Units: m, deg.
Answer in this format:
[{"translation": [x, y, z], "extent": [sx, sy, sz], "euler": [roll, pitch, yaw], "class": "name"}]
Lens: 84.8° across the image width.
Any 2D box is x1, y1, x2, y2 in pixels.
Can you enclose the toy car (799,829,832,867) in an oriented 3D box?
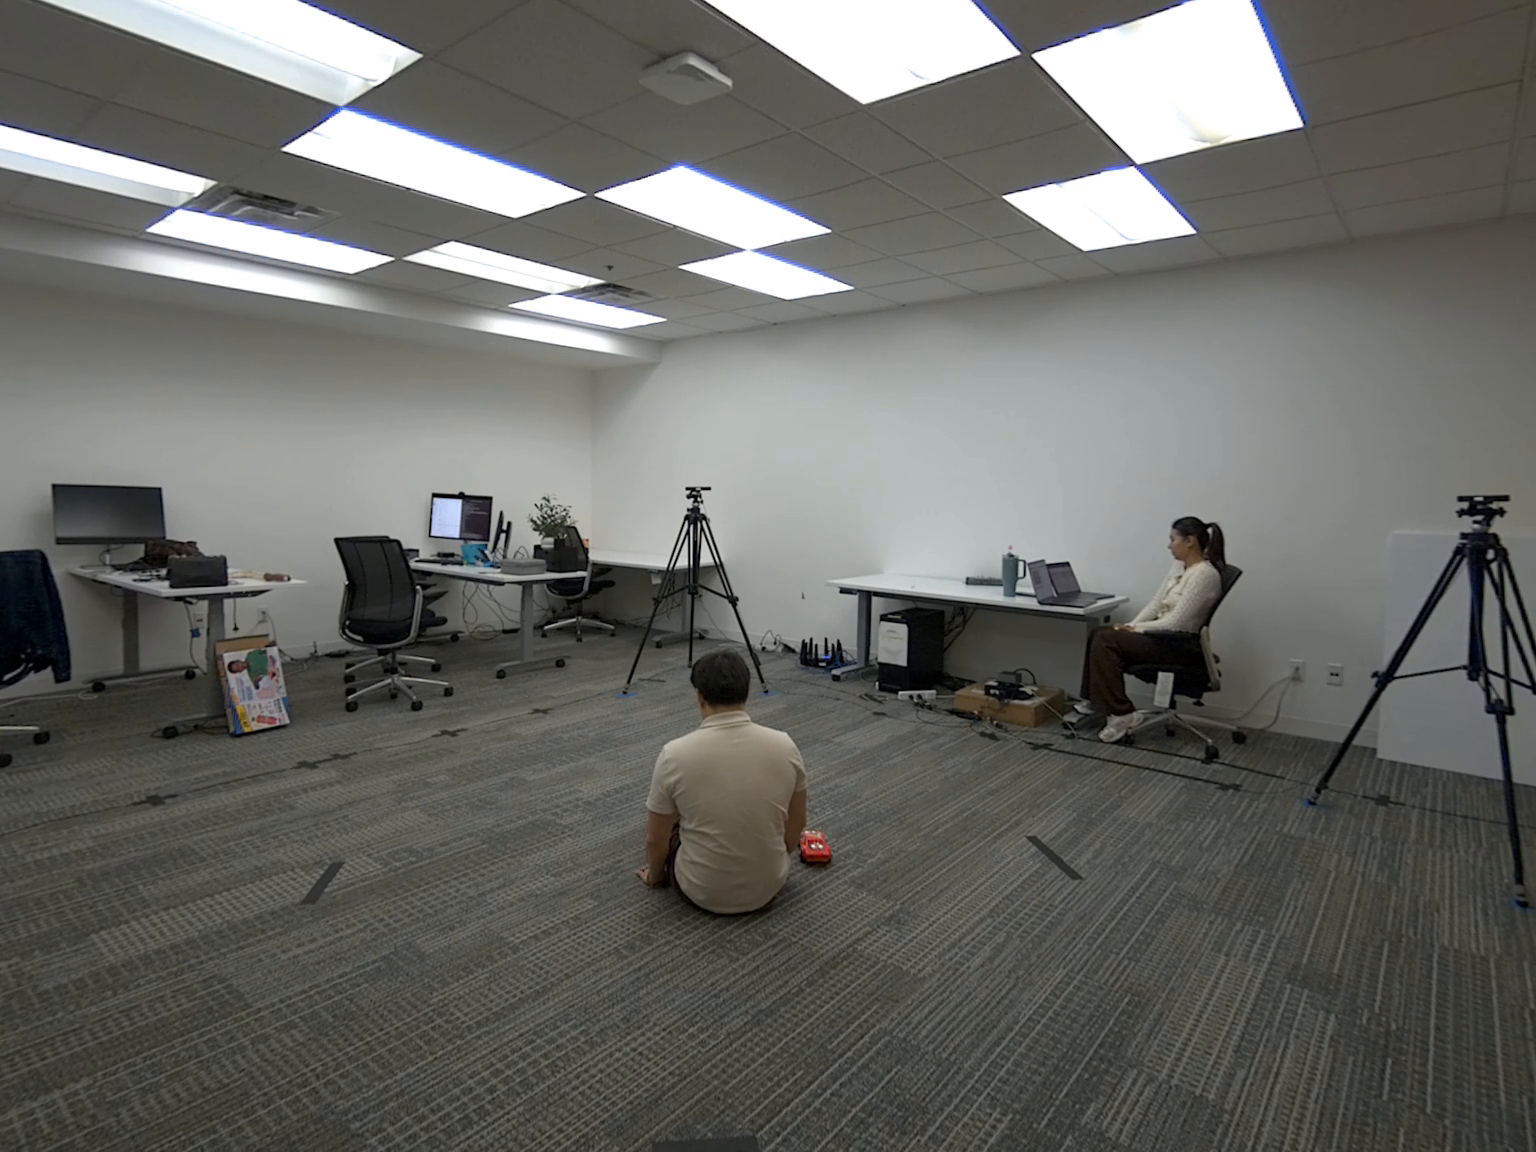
[{"translation": [0.169, 1.033, 3.232], "extent": [0.130, 0.084, 0.253], "euler": [0, -5, -3], "class": "toy car"}]
